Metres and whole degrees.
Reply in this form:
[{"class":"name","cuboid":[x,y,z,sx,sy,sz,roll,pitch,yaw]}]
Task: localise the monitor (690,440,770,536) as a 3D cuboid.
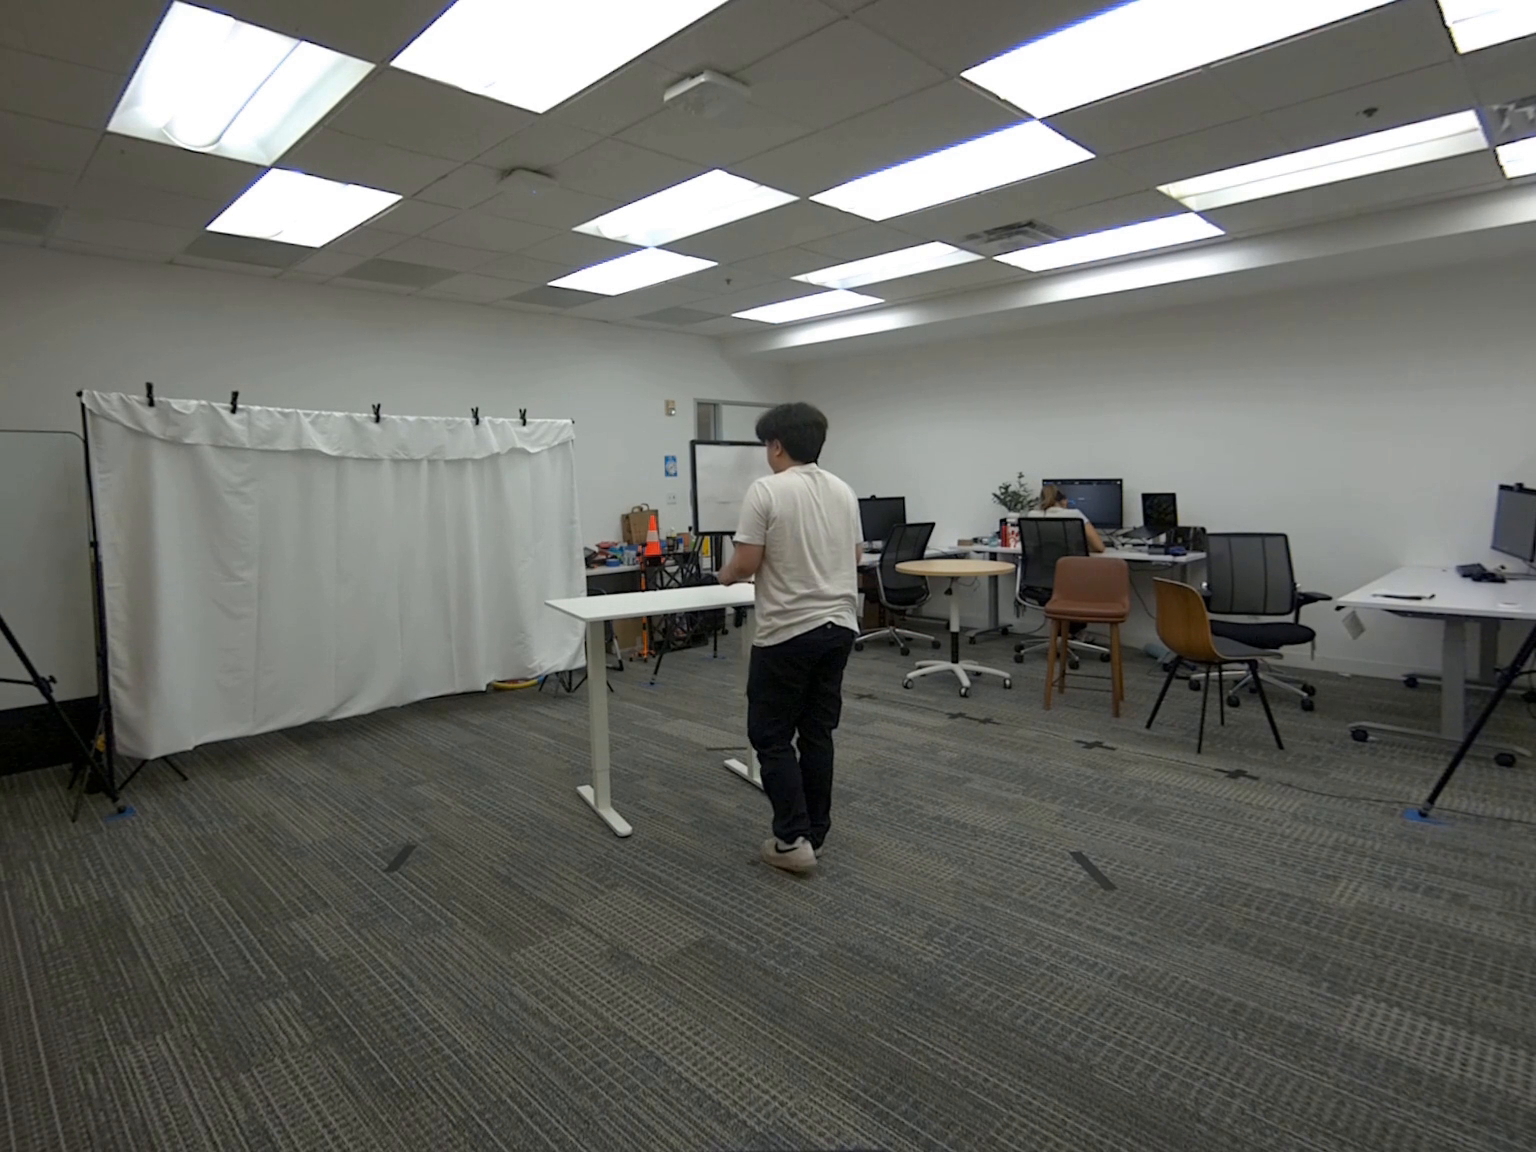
[{"class":"monitor","cuboid":[-0.074,-0.259,3.387,0.552,0.552,0.216,-2,4,-28]}]
